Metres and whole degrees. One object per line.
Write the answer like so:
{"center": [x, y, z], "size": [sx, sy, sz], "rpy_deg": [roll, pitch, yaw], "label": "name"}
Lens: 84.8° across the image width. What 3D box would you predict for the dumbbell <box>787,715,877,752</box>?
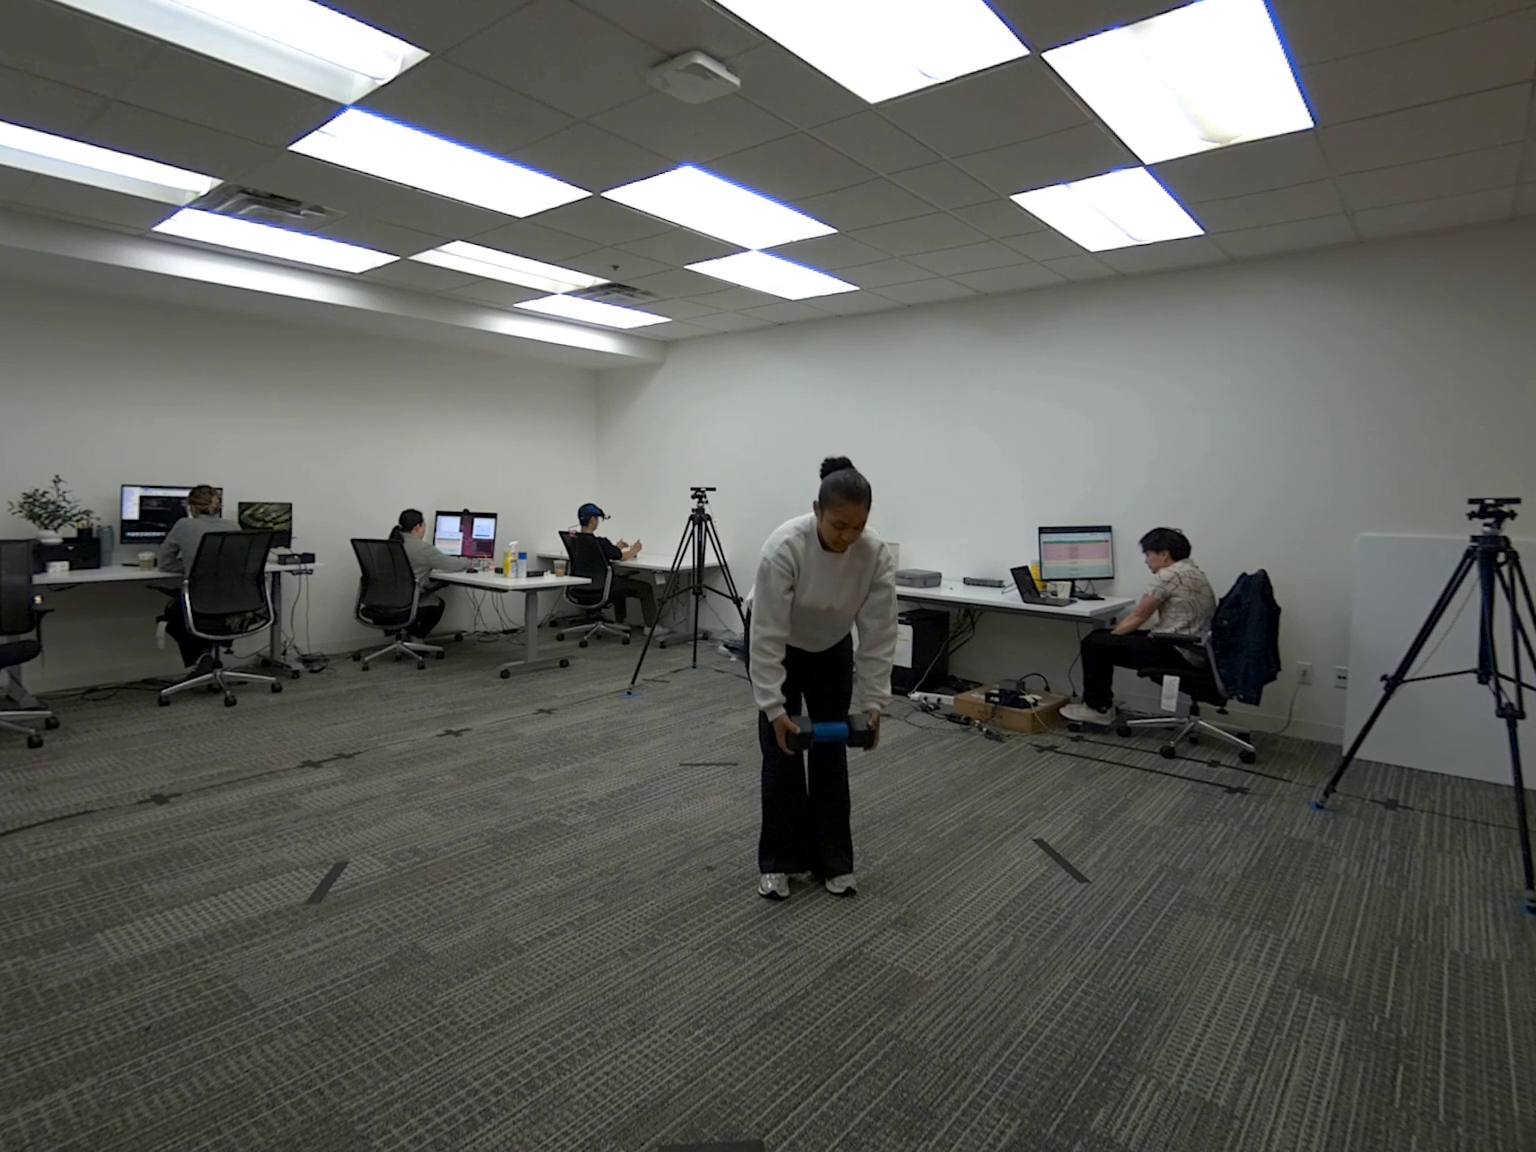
{"center": [0.192, 0.520, 2.785], "size": [0.289, 0.106, 0.127], "rpy_deg": [1, 46, -13], "label": "dumbbell"}
